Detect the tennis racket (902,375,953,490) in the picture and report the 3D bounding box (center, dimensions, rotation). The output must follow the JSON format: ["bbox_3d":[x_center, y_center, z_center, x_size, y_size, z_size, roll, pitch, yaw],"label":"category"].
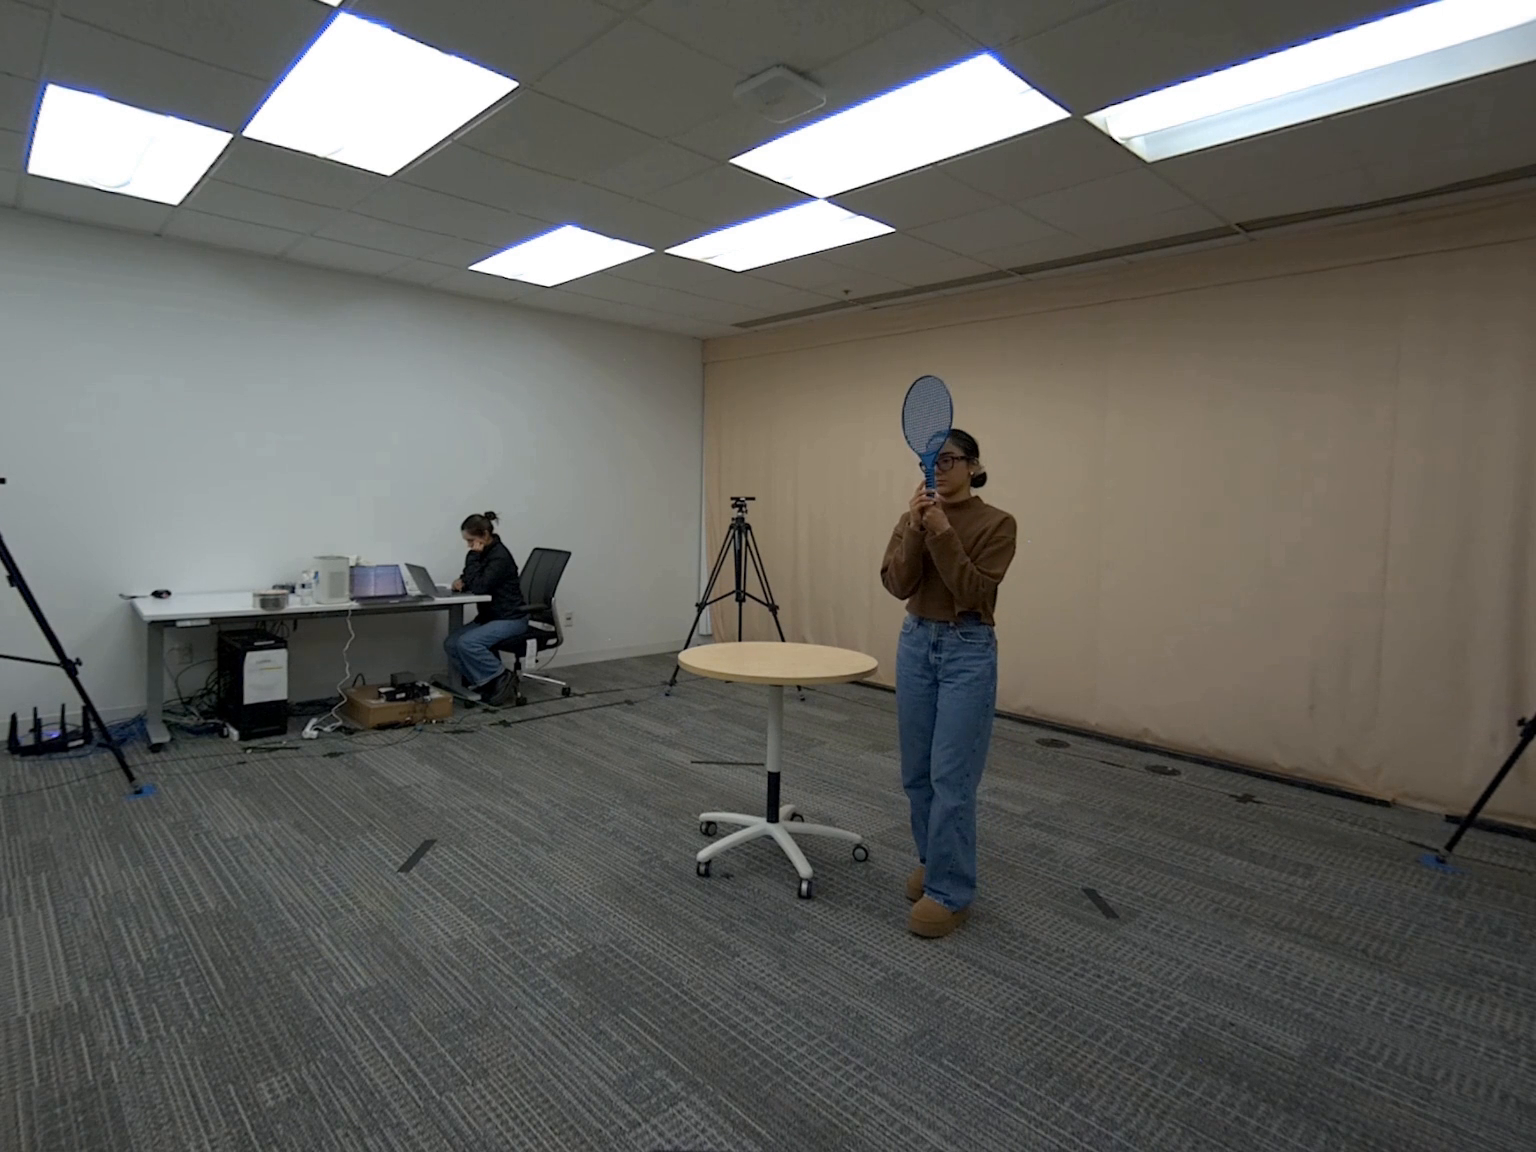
[{"bbox_3d":[0.522,-0.447,2.774,0.031,0.433,0.218,0,0,-35],"label":"tennis racket"}]
